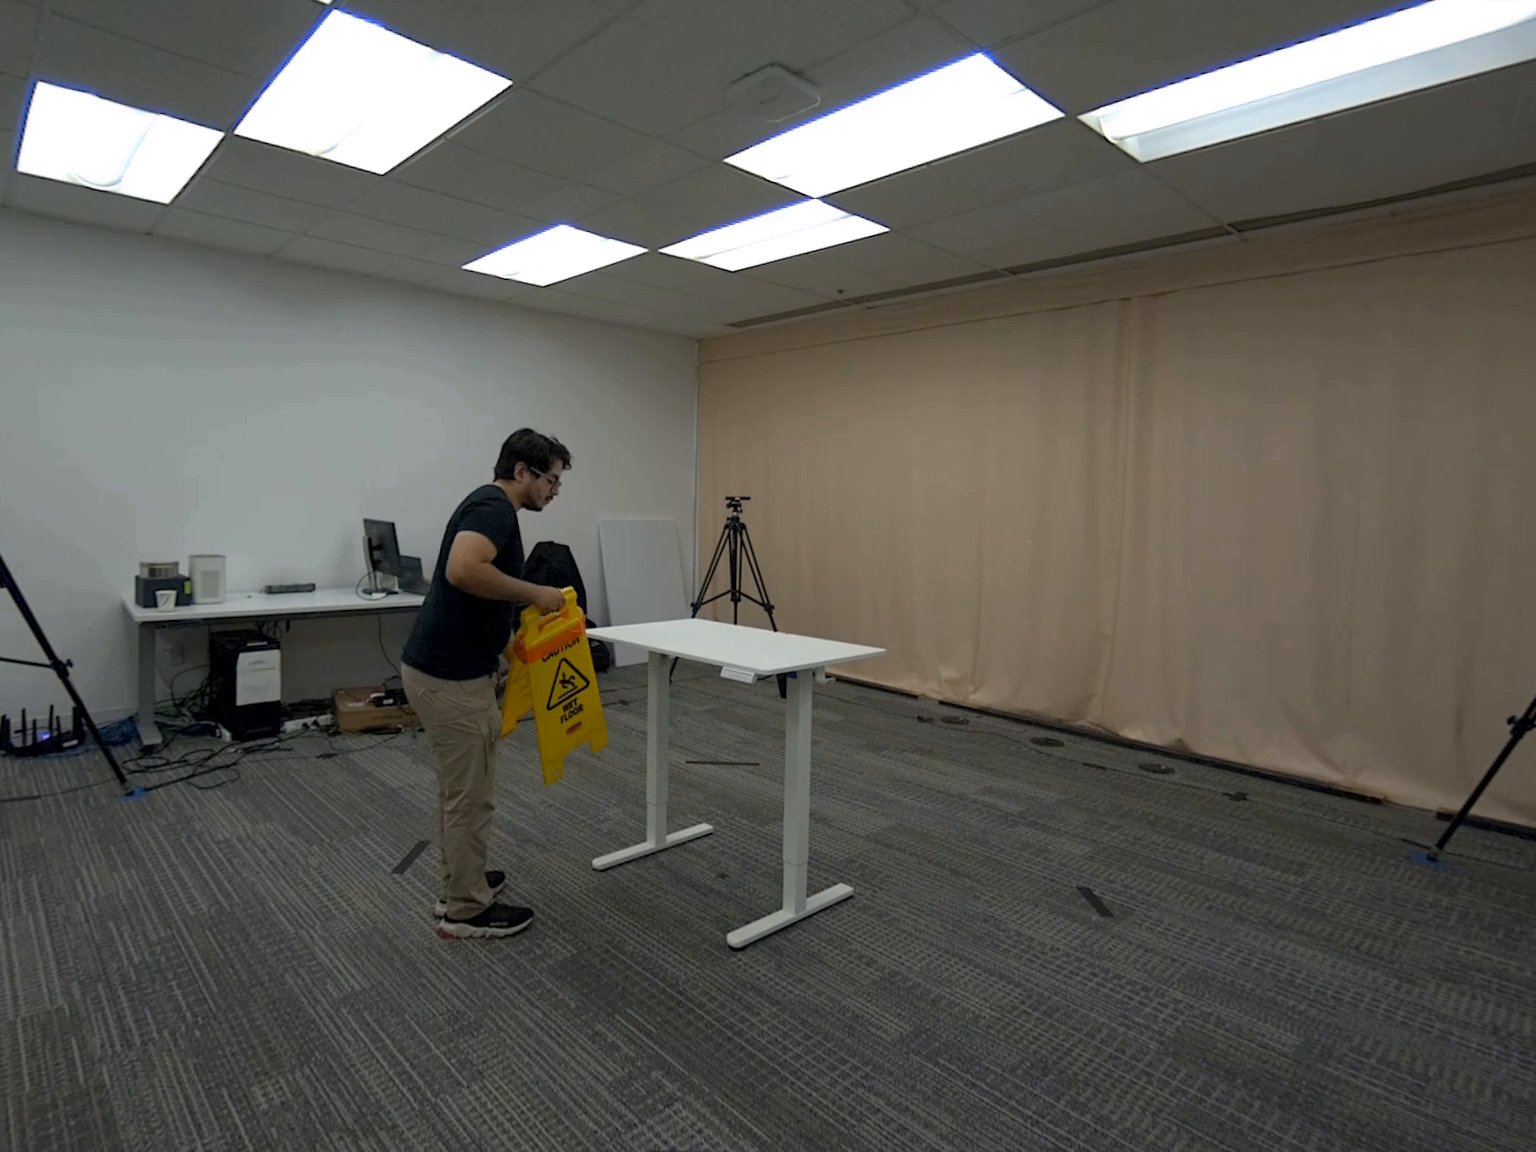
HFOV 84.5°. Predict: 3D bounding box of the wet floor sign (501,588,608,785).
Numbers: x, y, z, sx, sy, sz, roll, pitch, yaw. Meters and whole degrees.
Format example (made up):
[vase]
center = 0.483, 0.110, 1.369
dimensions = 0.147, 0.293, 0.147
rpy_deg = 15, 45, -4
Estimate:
[wet floor sign]
center = -0.725, 0.331, 2.785
dimensions = 0.297, 0.635, 0.280
rpy_deg = 31, 41, 26
